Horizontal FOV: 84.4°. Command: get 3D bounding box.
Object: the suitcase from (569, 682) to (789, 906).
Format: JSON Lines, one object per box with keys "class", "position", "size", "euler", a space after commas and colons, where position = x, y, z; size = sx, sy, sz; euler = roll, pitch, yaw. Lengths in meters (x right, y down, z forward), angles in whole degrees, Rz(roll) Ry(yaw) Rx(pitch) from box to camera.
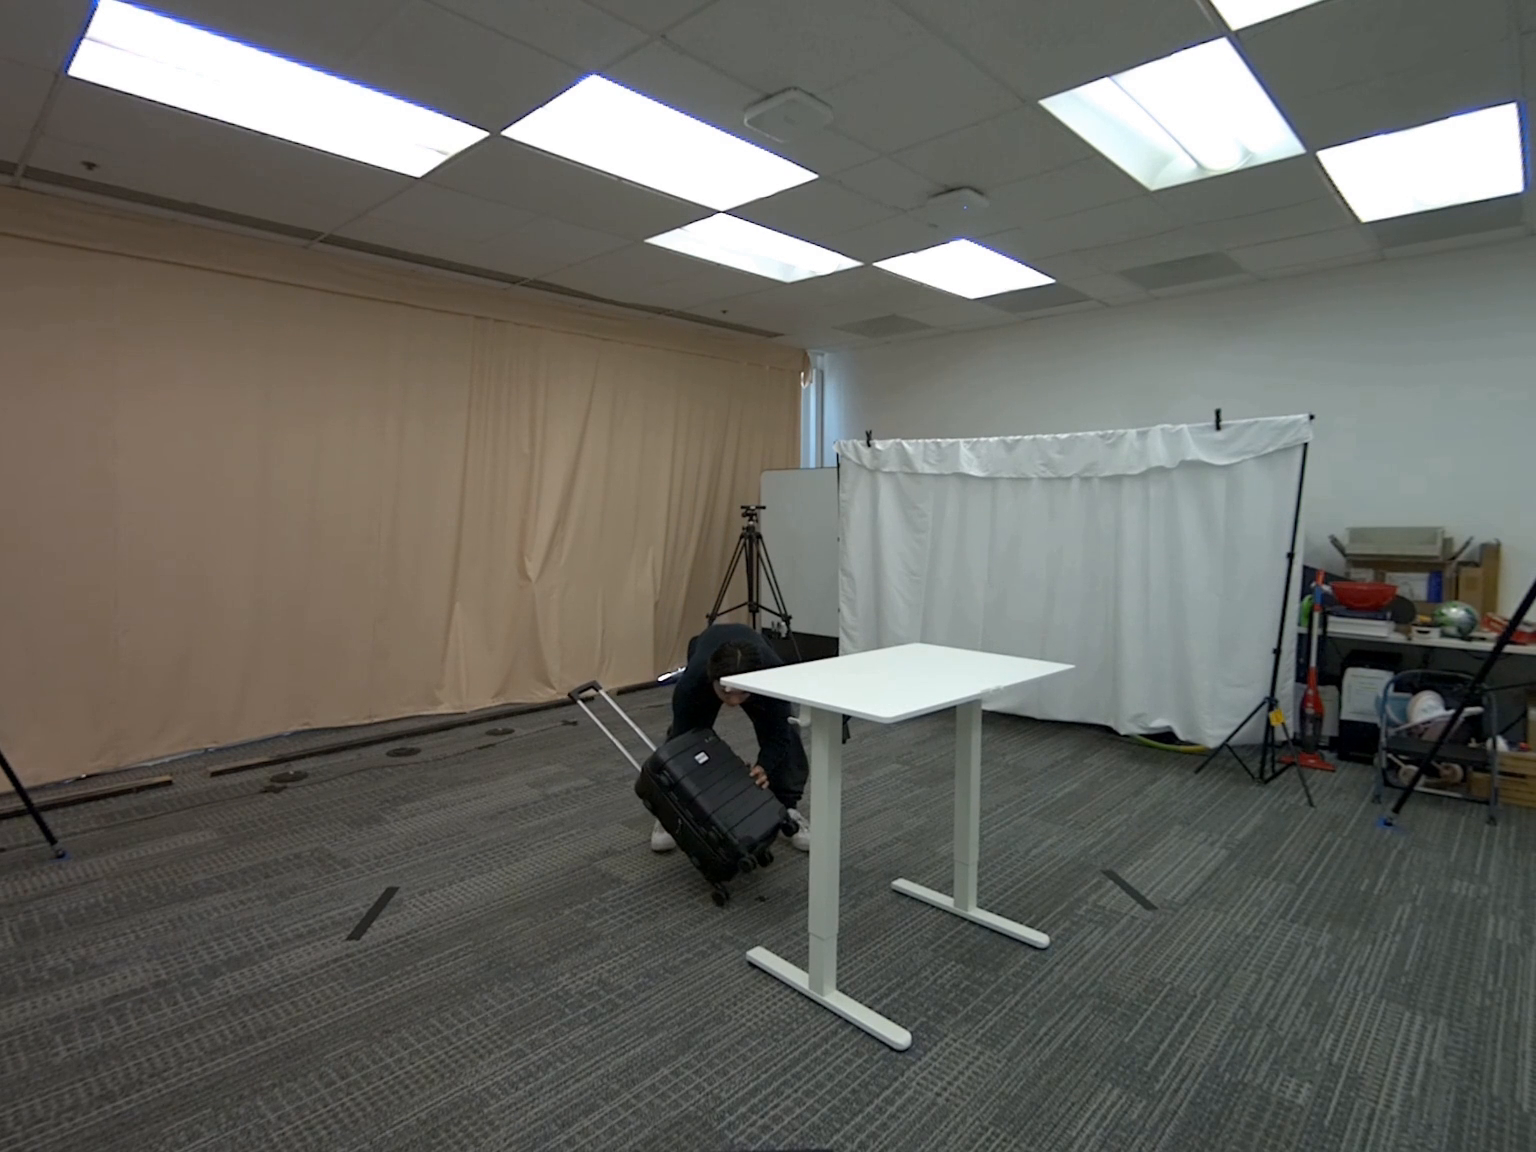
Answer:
{"class": "suitcase", "position": [-0.338, 0.690, 3.150], "size": [1.001, 0.257, 0.375], "euler": [45, 33, 19]}
